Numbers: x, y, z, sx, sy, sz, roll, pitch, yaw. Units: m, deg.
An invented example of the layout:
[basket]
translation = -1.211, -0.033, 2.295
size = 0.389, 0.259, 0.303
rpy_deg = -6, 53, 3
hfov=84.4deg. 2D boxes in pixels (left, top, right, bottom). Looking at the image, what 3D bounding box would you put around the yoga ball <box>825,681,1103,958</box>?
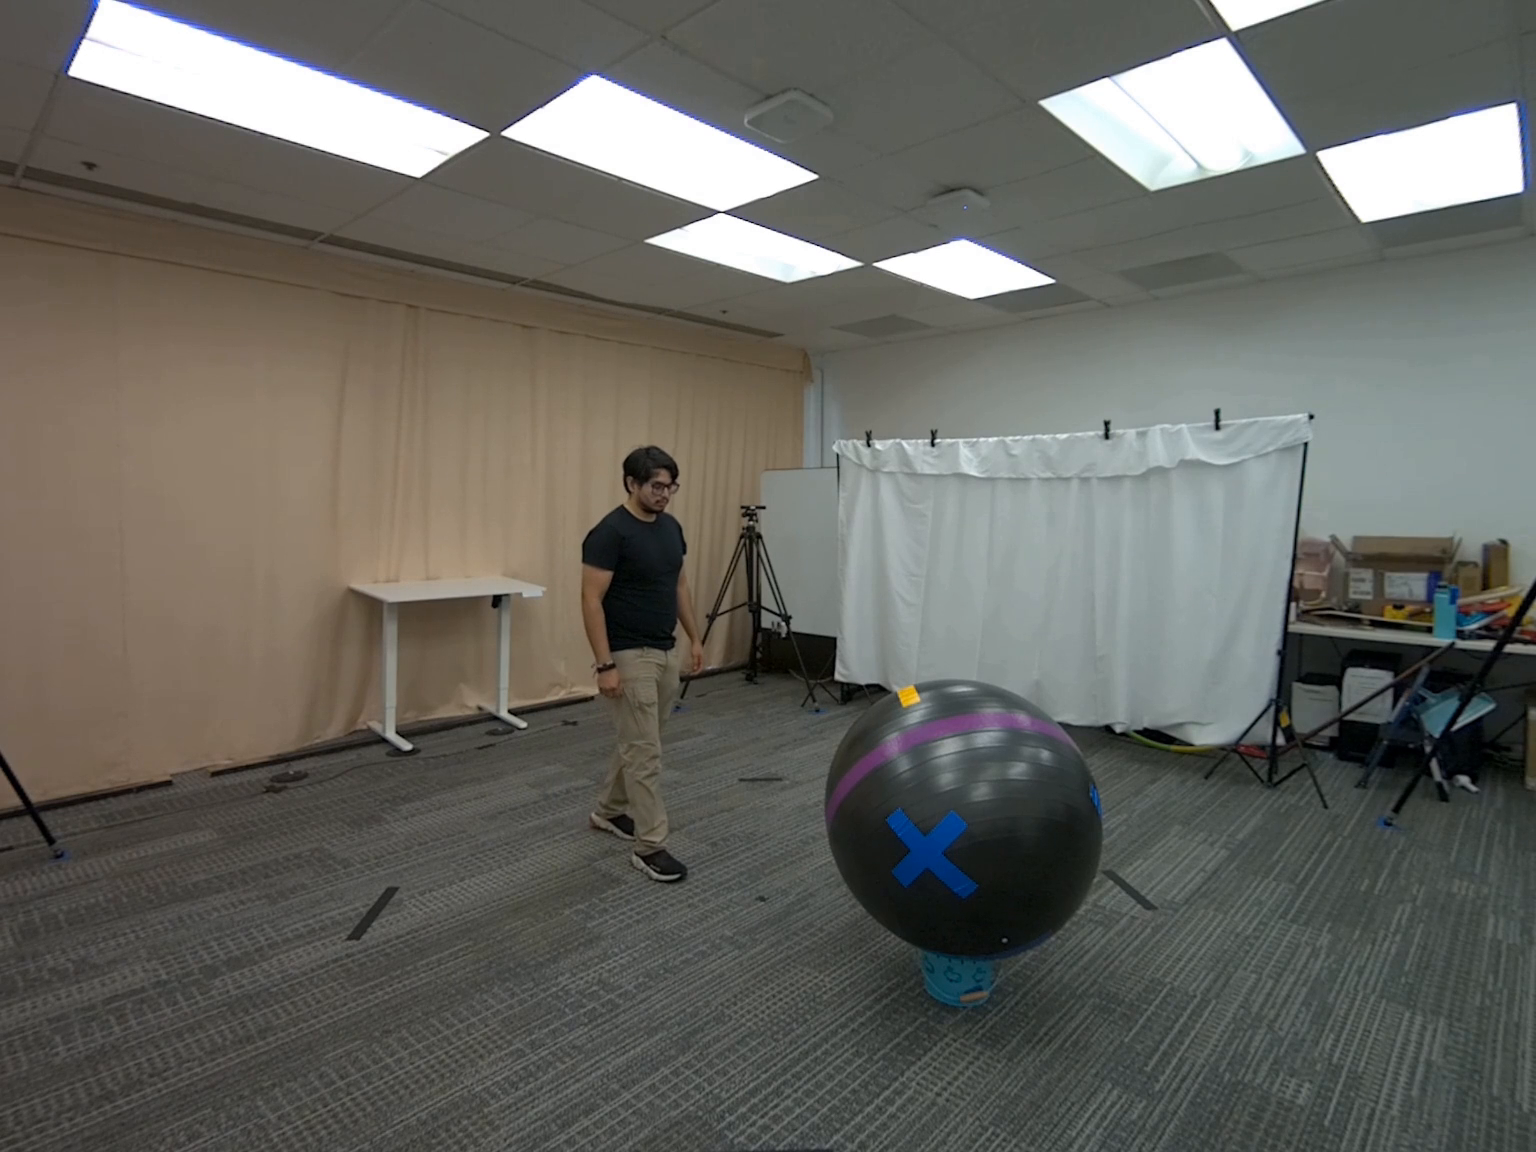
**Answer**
[yoga ball]
translation = 0.550, 0.683, 2.407
size = 0.757, 0.756, 0.760
rpy_deg = 0, 4, -2
